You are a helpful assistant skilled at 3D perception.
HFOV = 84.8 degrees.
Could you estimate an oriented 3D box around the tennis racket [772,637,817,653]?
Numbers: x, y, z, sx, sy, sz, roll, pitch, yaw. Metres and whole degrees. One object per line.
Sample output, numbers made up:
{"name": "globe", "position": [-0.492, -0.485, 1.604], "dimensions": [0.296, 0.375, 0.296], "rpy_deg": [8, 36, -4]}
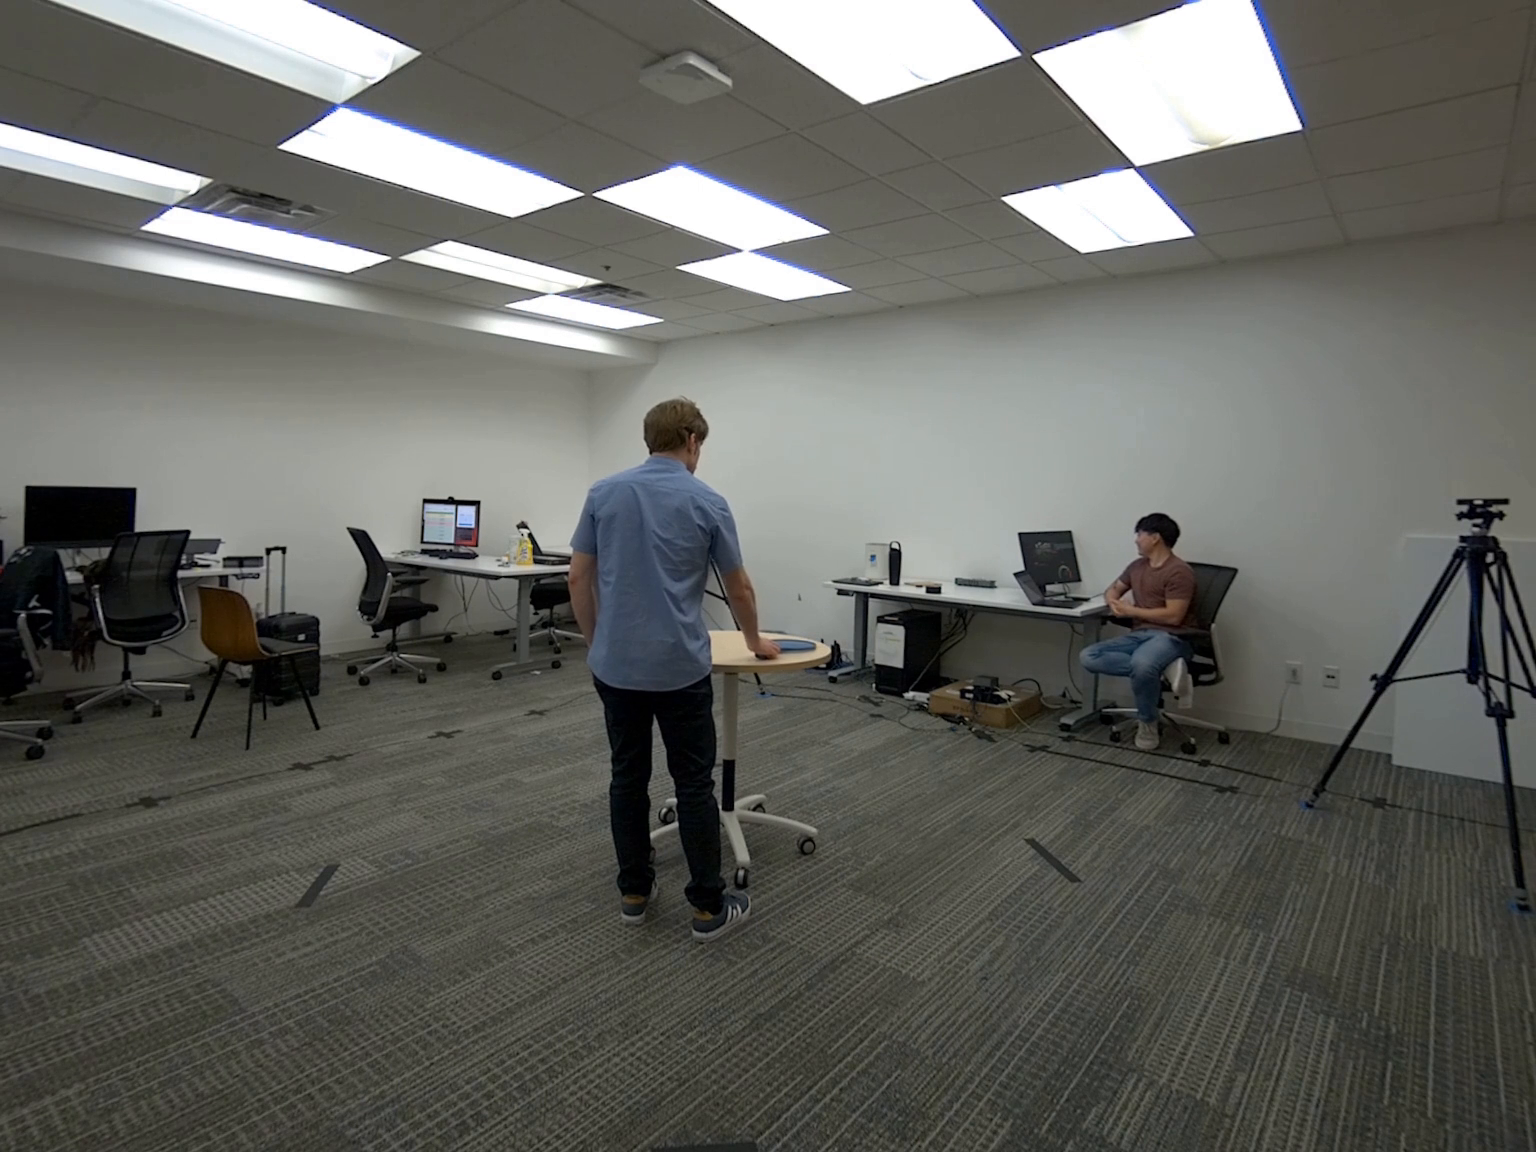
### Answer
{"name": "tennis racket", "position": [0.035, 0.270, 3.225], "dimensions": [0.219, 0.032, 0.422], "rpy_deg": [2, 3, 26]}
